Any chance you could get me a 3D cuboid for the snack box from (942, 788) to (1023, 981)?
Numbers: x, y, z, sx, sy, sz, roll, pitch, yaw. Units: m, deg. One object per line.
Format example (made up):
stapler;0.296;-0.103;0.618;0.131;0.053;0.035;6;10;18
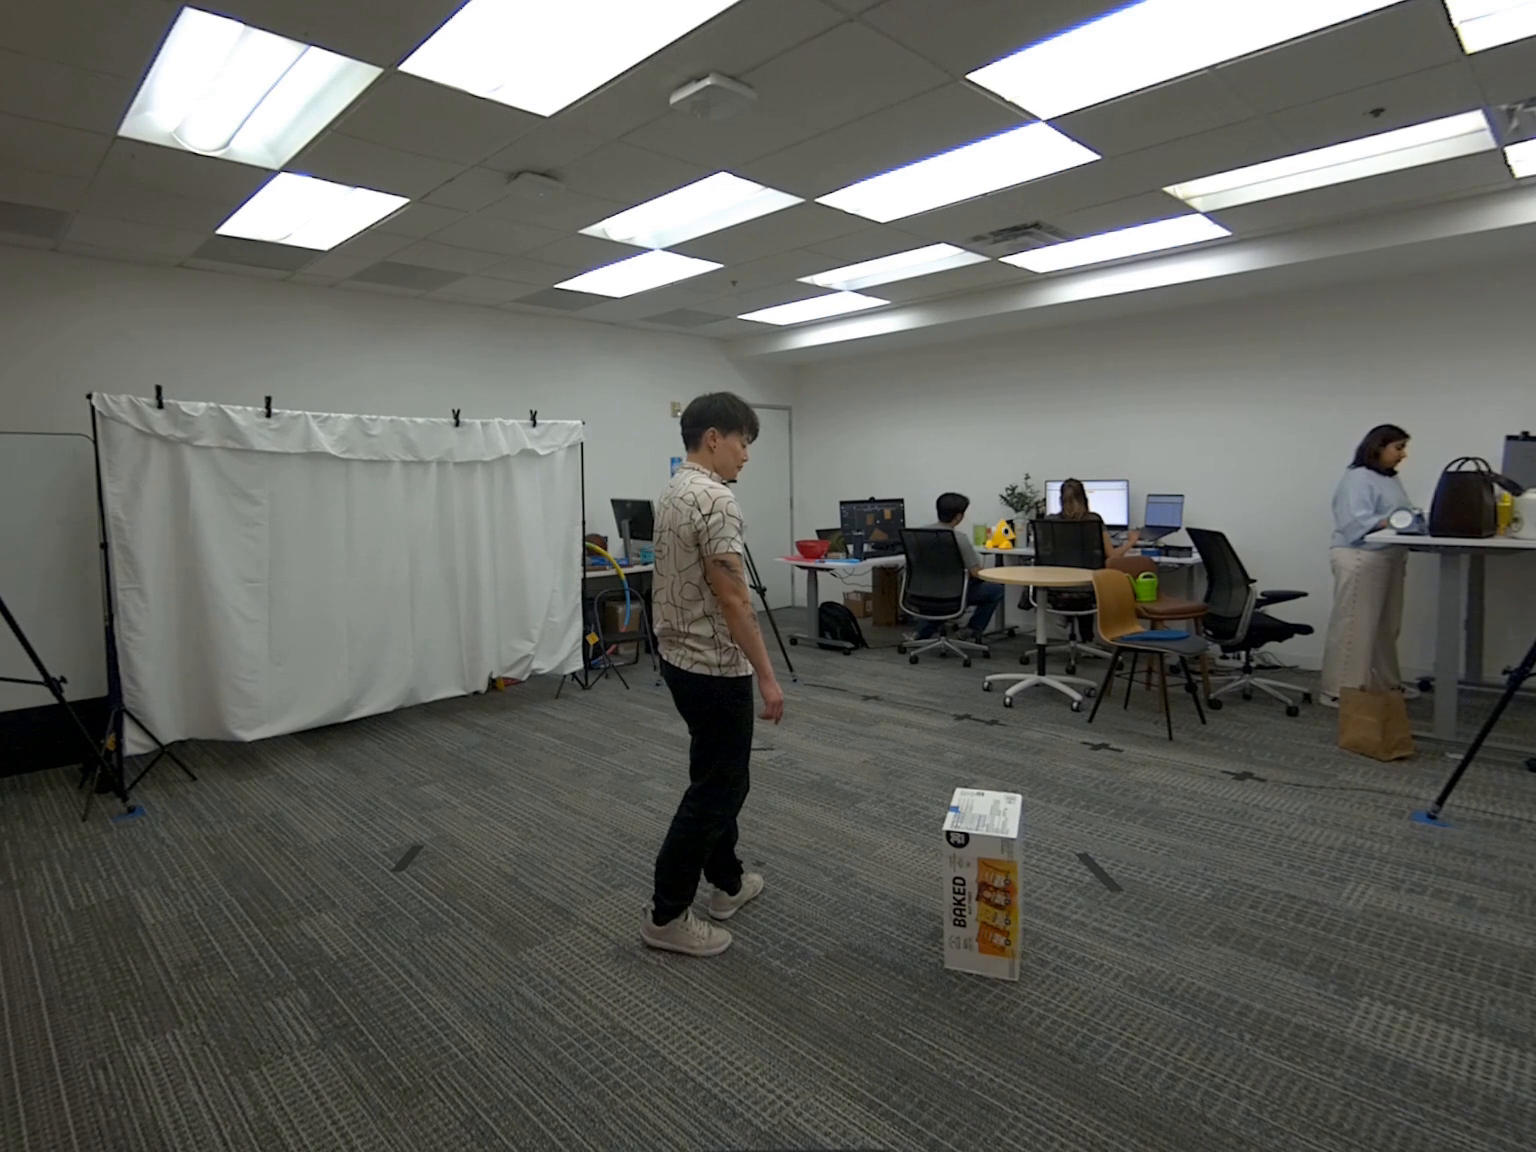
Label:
snack box;0.645;0.892;2.532;0.210;0.404;0.335;0;4;20
